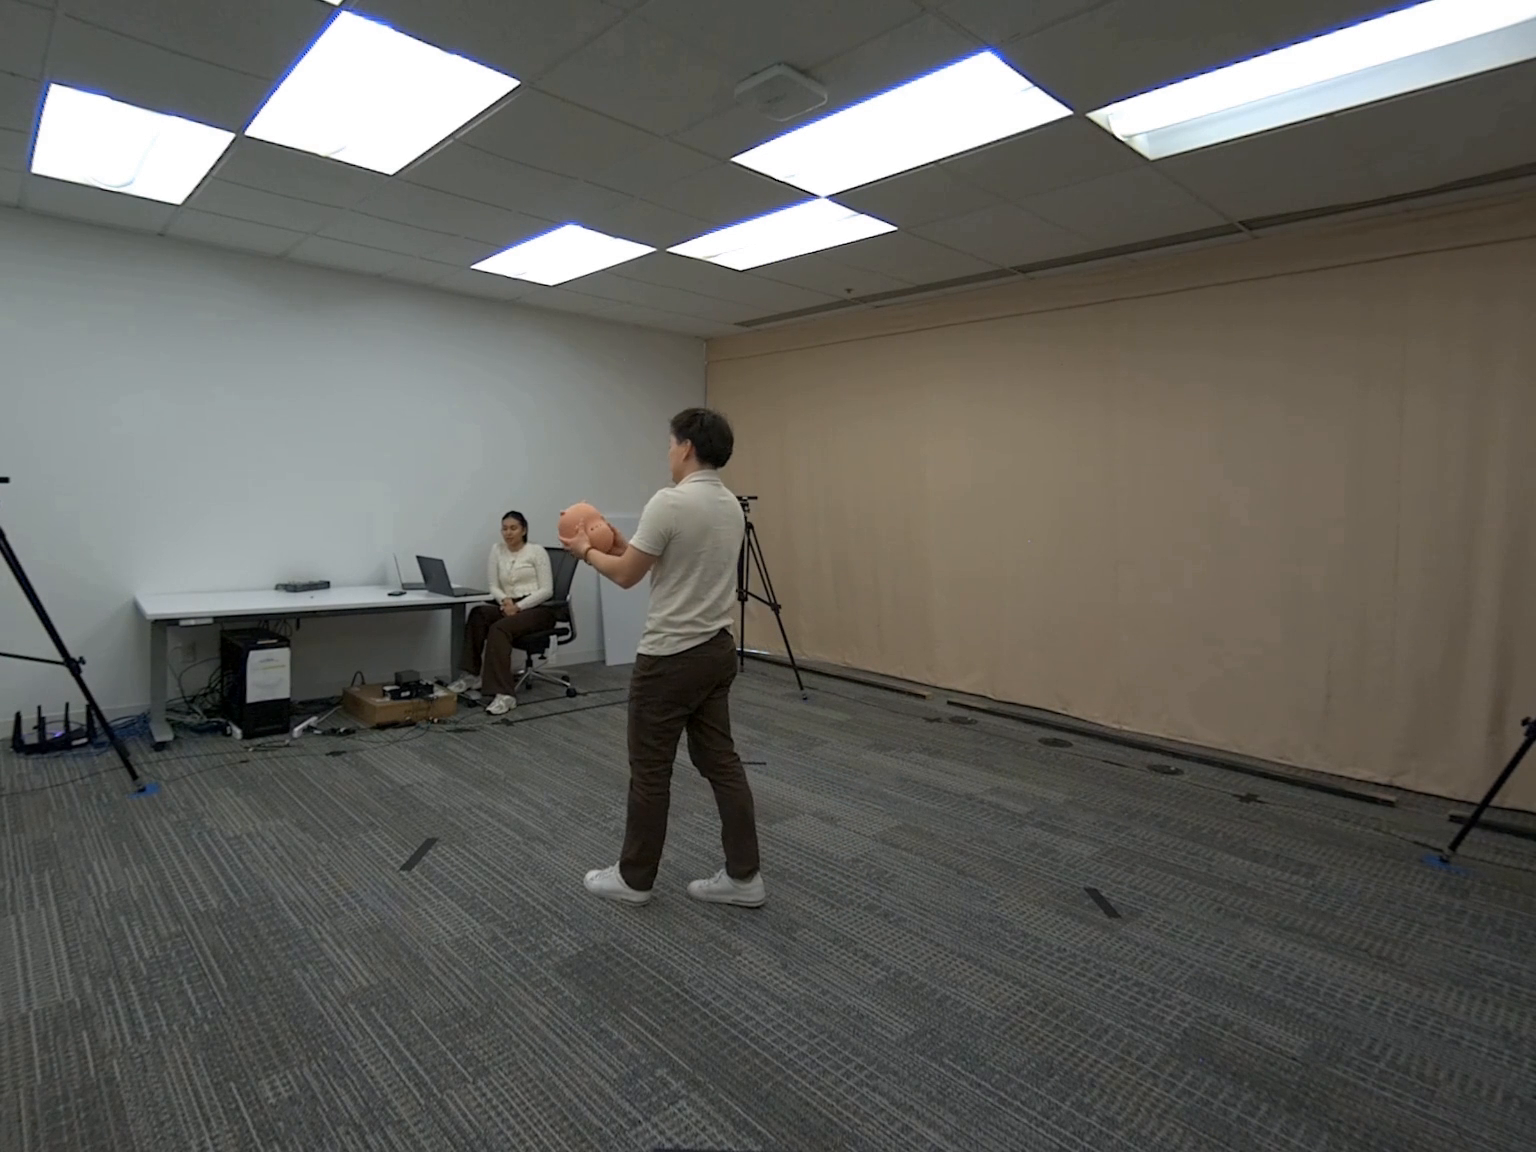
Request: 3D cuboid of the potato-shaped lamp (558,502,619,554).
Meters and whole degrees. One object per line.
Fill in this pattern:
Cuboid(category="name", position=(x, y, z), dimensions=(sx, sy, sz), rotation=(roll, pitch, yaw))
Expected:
Cuboid(category="potato-shaped lamp", position=(-0.648, -0.158, 3.029), dimensions=(0.203, 0.169, 0.163), rotation=(34, 39, 23))
